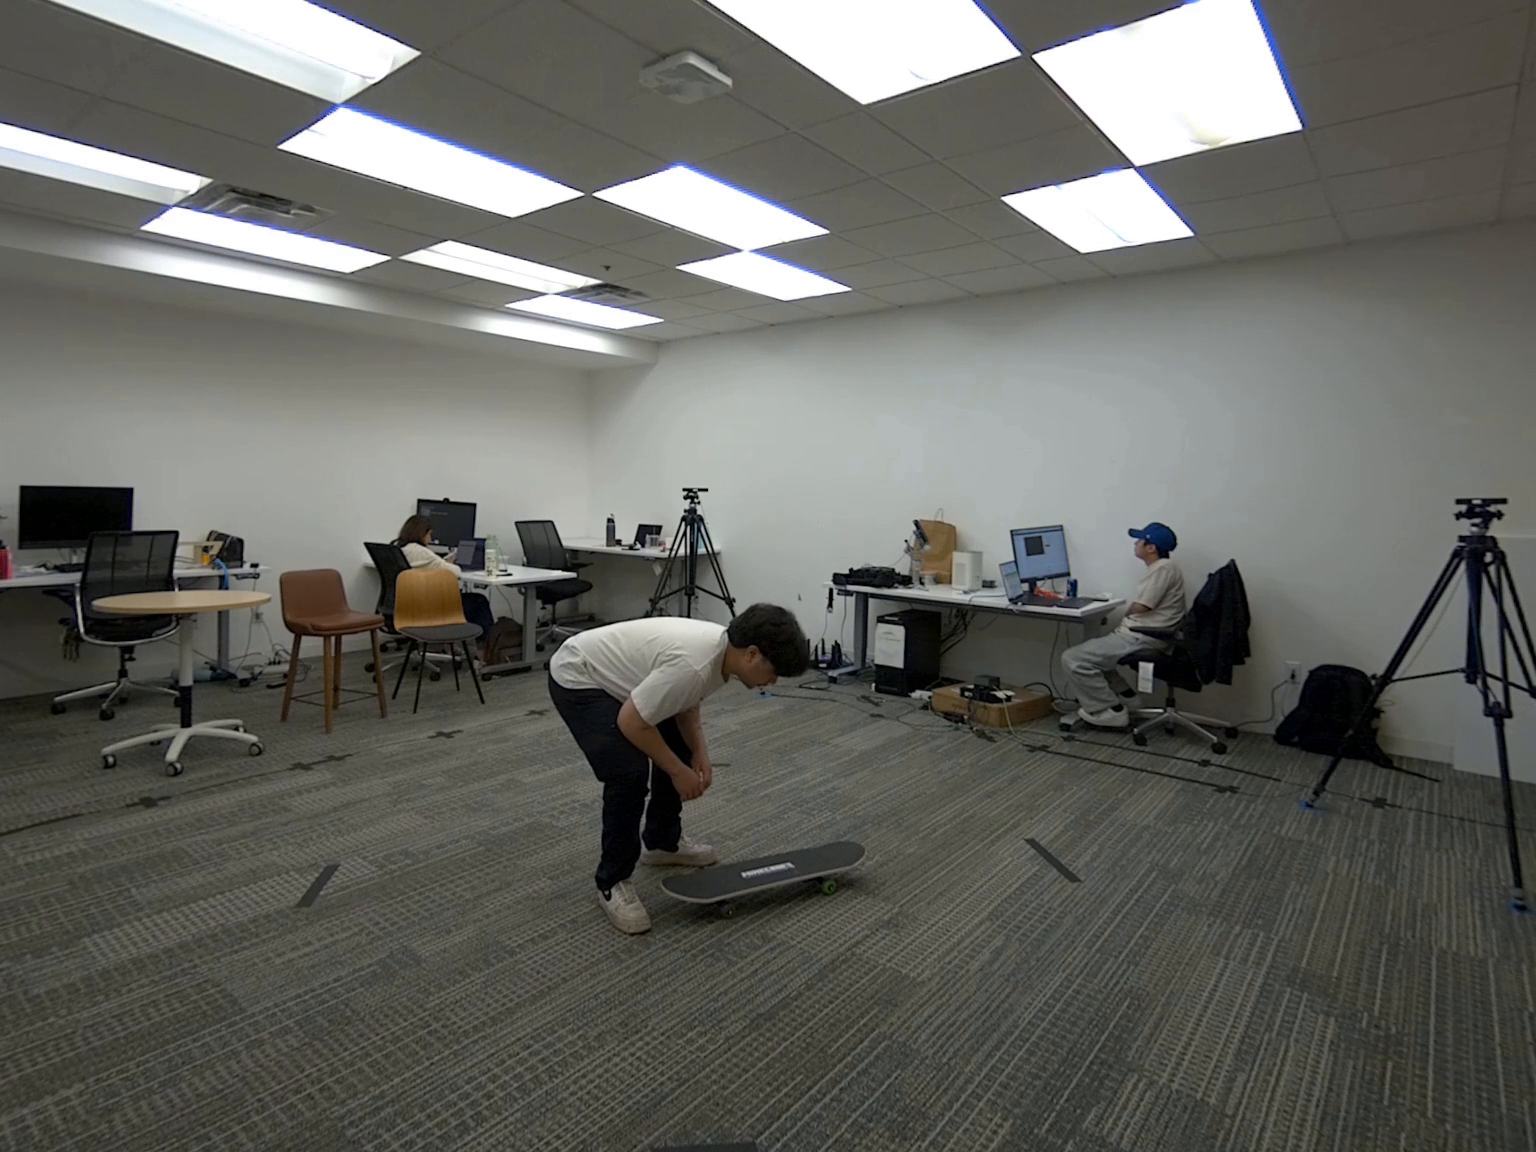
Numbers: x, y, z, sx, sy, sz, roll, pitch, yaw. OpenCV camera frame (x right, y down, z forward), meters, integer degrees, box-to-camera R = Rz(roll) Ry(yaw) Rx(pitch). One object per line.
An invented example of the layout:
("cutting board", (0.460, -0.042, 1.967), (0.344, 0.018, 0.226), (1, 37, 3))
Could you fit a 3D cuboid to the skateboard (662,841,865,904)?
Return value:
("skateboard", (0.000, 1.041, 2.914), (0.765, 0.110, 0.199), (-2, 7, -28))
